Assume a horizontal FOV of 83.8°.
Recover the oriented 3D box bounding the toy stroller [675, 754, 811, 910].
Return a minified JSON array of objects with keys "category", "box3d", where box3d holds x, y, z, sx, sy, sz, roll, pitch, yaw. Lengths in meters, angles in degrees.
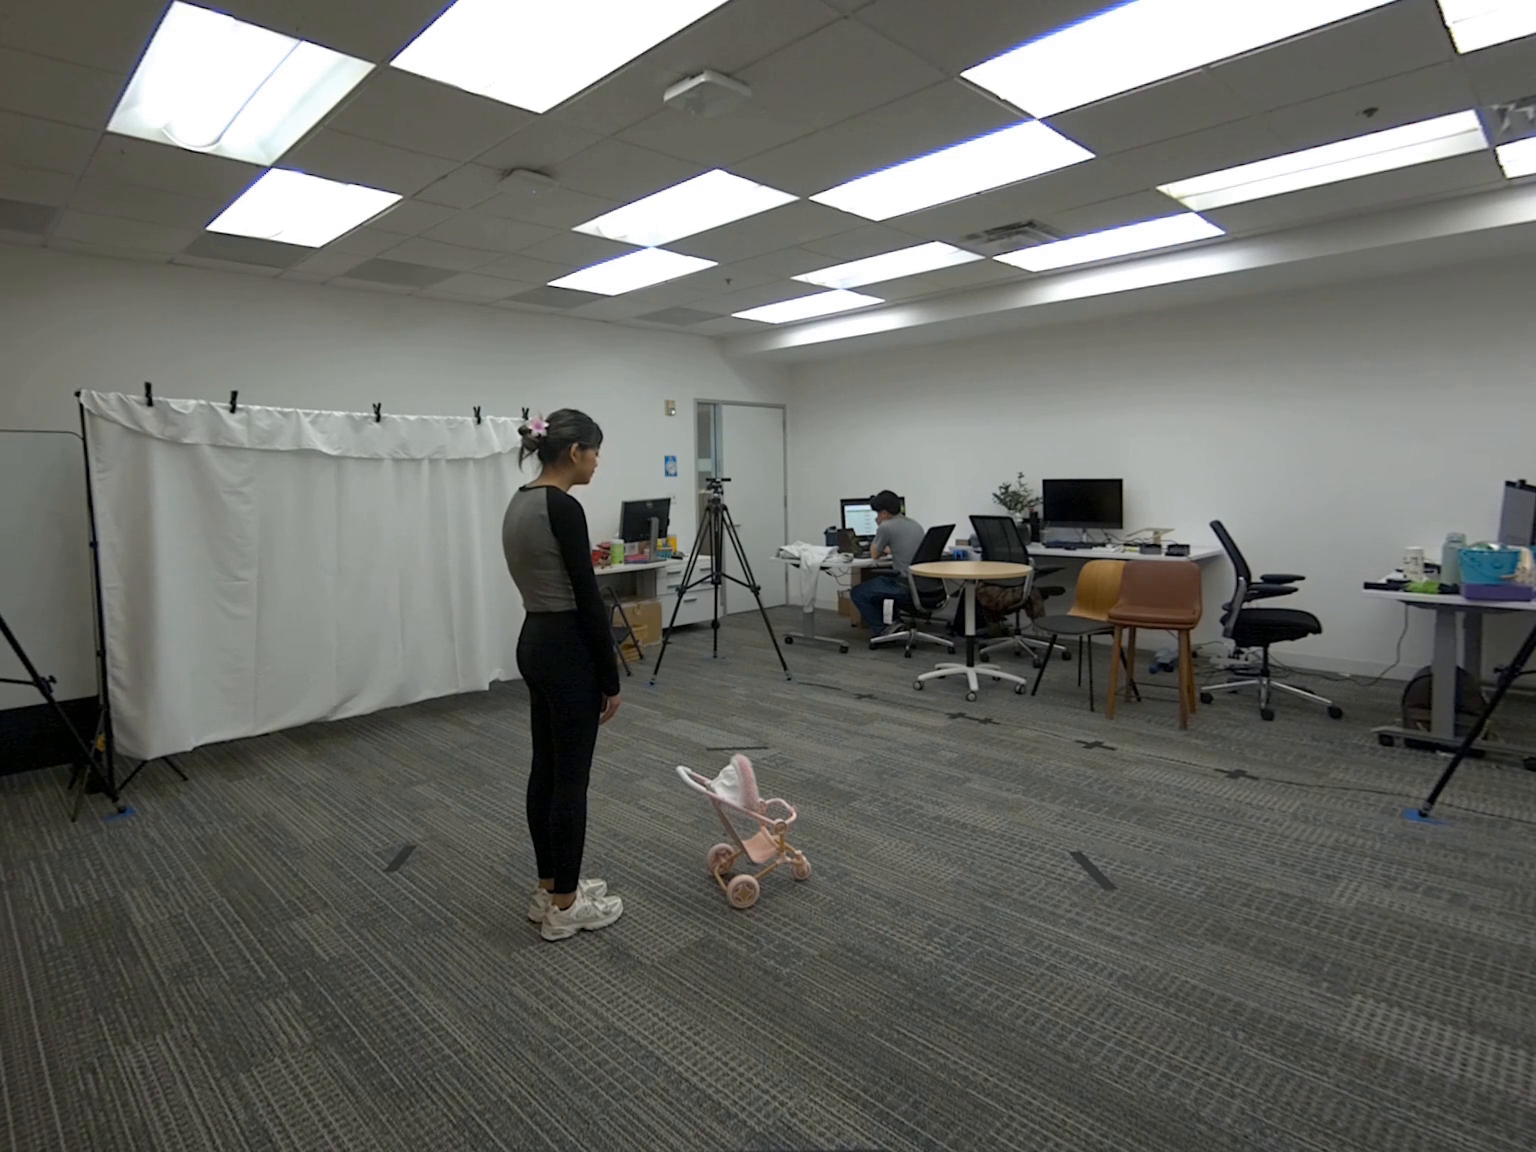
[{"category":"toy stroller","box3d":[-0.061,0.840,2.899,0.339,0.530,0.286,-19,8,-12]}]
